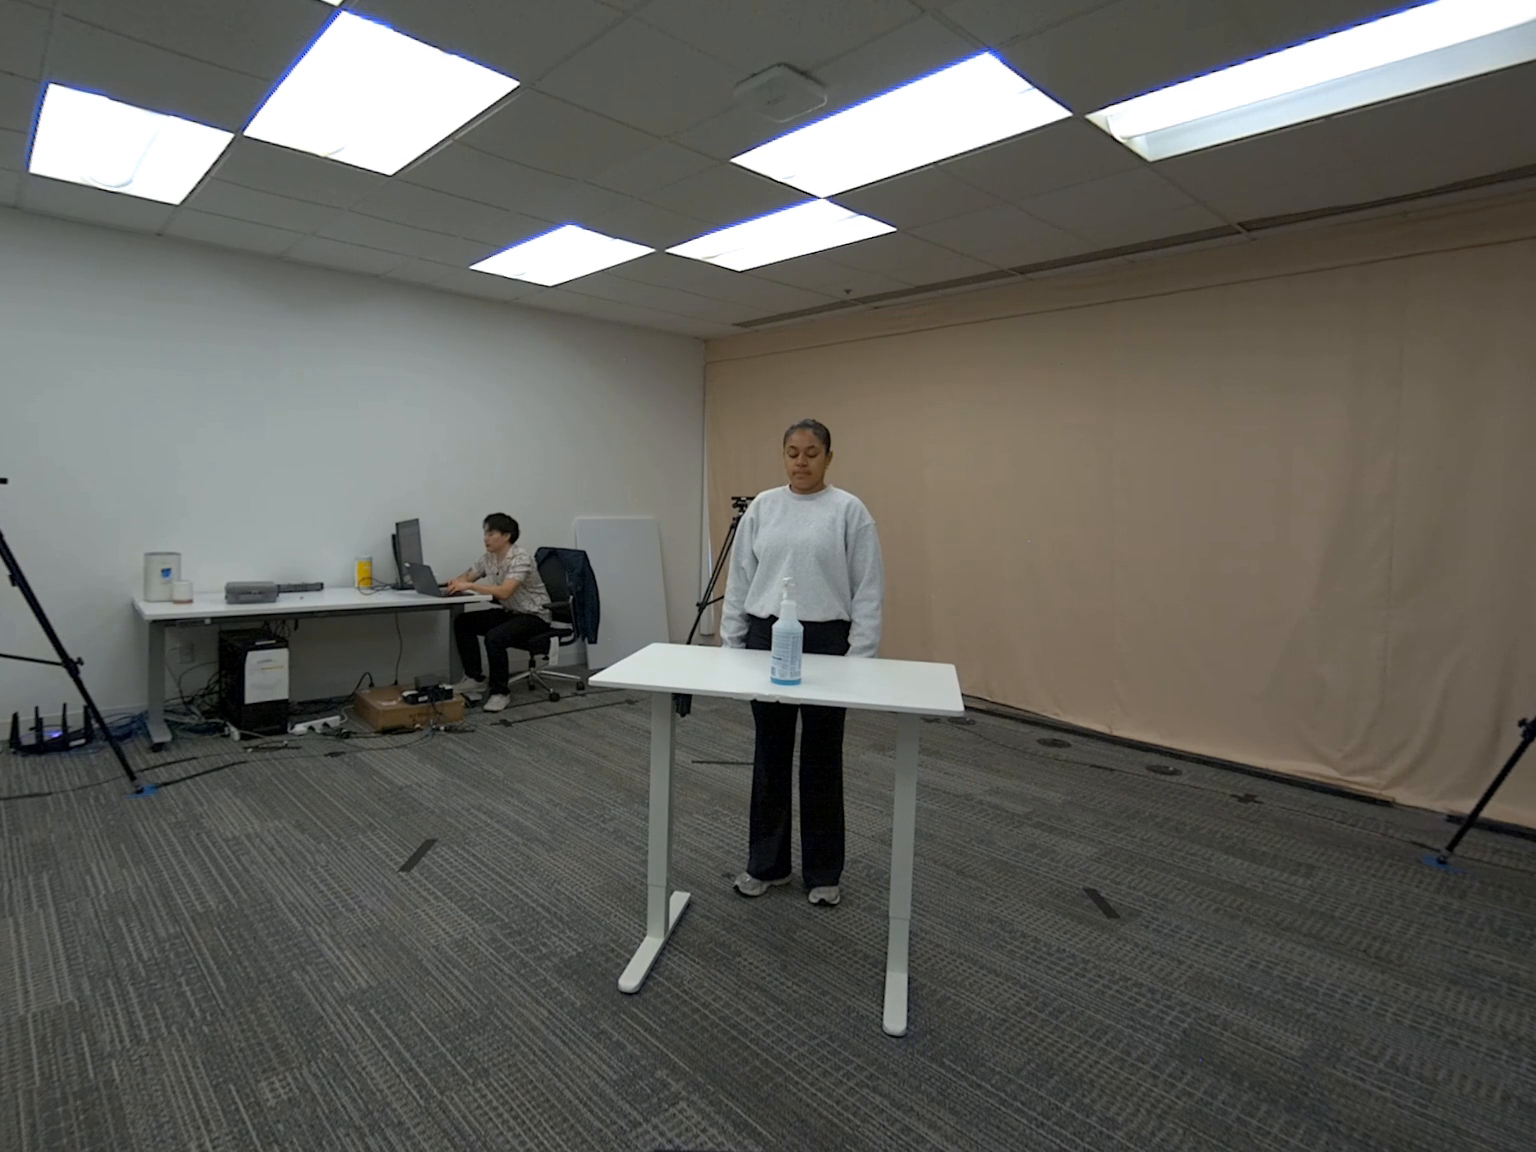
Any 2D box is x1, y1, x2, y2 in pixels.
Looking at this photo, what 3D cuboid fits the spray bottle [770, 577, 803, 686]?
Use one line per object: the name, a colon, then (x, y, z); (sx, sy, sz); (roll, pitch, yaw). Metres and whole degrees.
spray bottle: (0.041, 0.155, 2.346); (0.089, 0.296, 0.088); (6, 7, 41)
